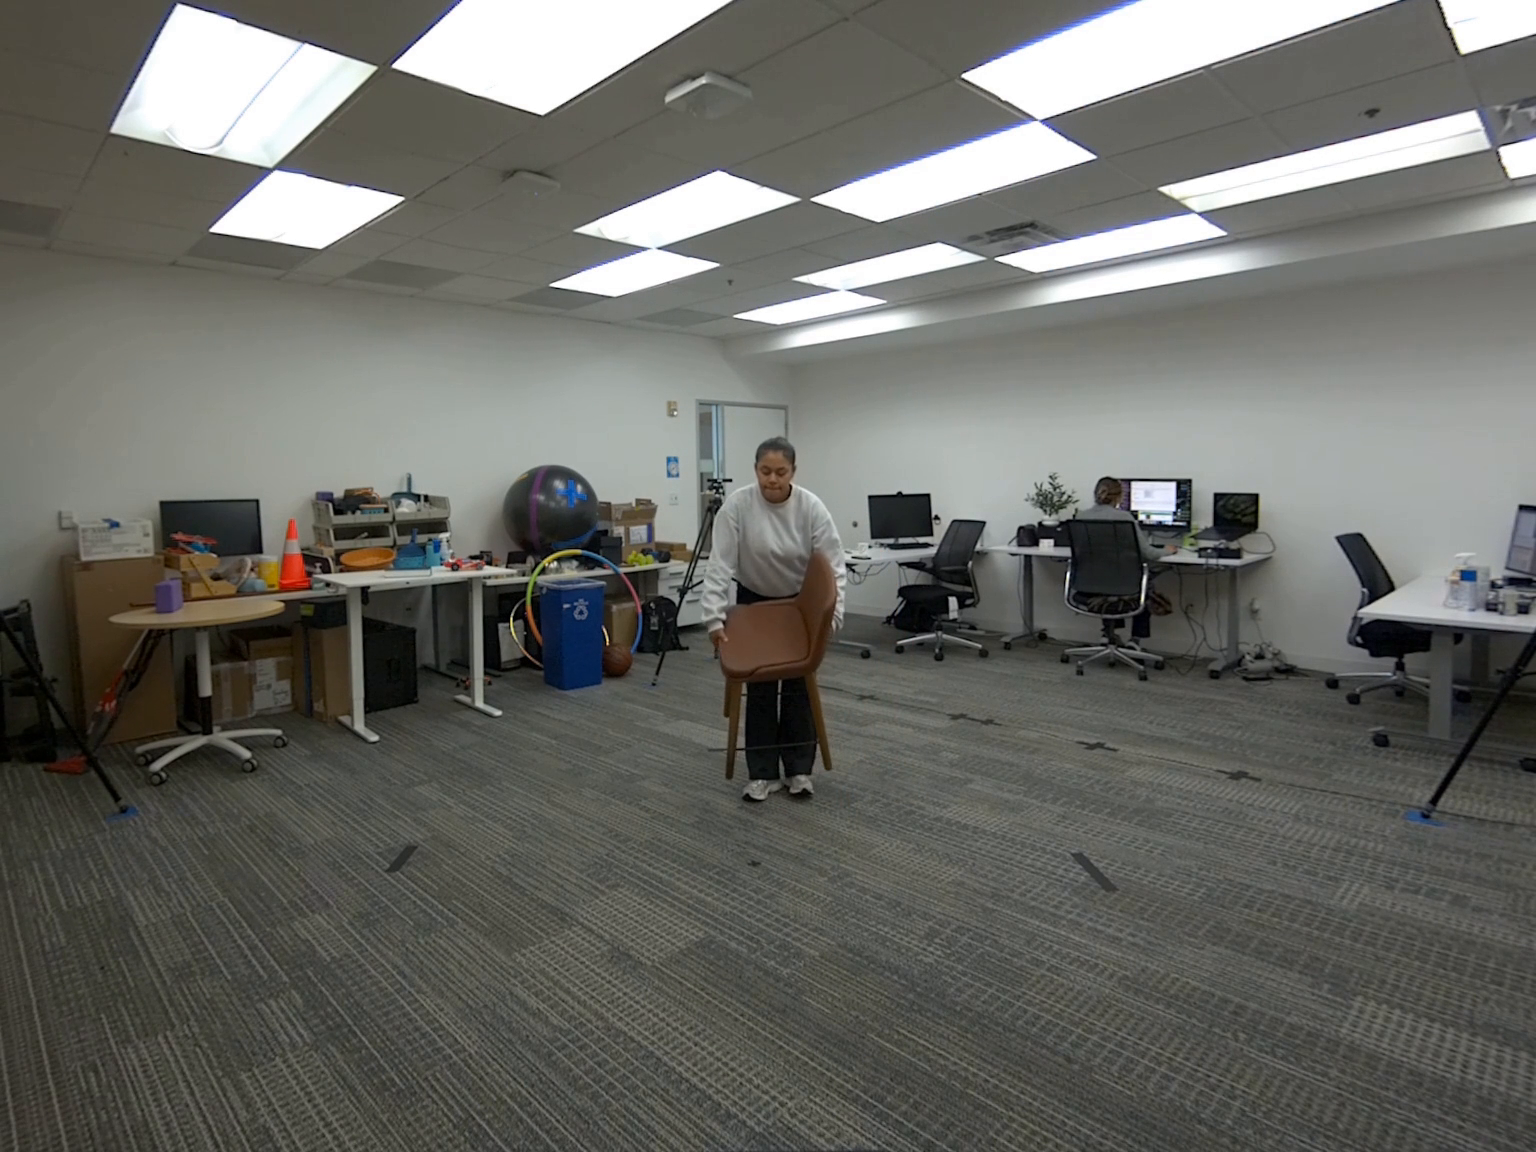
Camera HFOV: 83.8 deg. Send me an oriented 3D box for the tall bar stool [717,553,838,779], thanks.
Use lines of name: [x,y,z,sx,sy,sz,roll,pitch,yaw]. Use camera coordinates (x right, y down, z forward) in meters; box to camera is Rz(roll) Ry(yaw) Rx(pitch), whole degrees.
tall bar stool: [0.029,0.377,3.556,0.467,0.868,0.468,-1,31,-1]
